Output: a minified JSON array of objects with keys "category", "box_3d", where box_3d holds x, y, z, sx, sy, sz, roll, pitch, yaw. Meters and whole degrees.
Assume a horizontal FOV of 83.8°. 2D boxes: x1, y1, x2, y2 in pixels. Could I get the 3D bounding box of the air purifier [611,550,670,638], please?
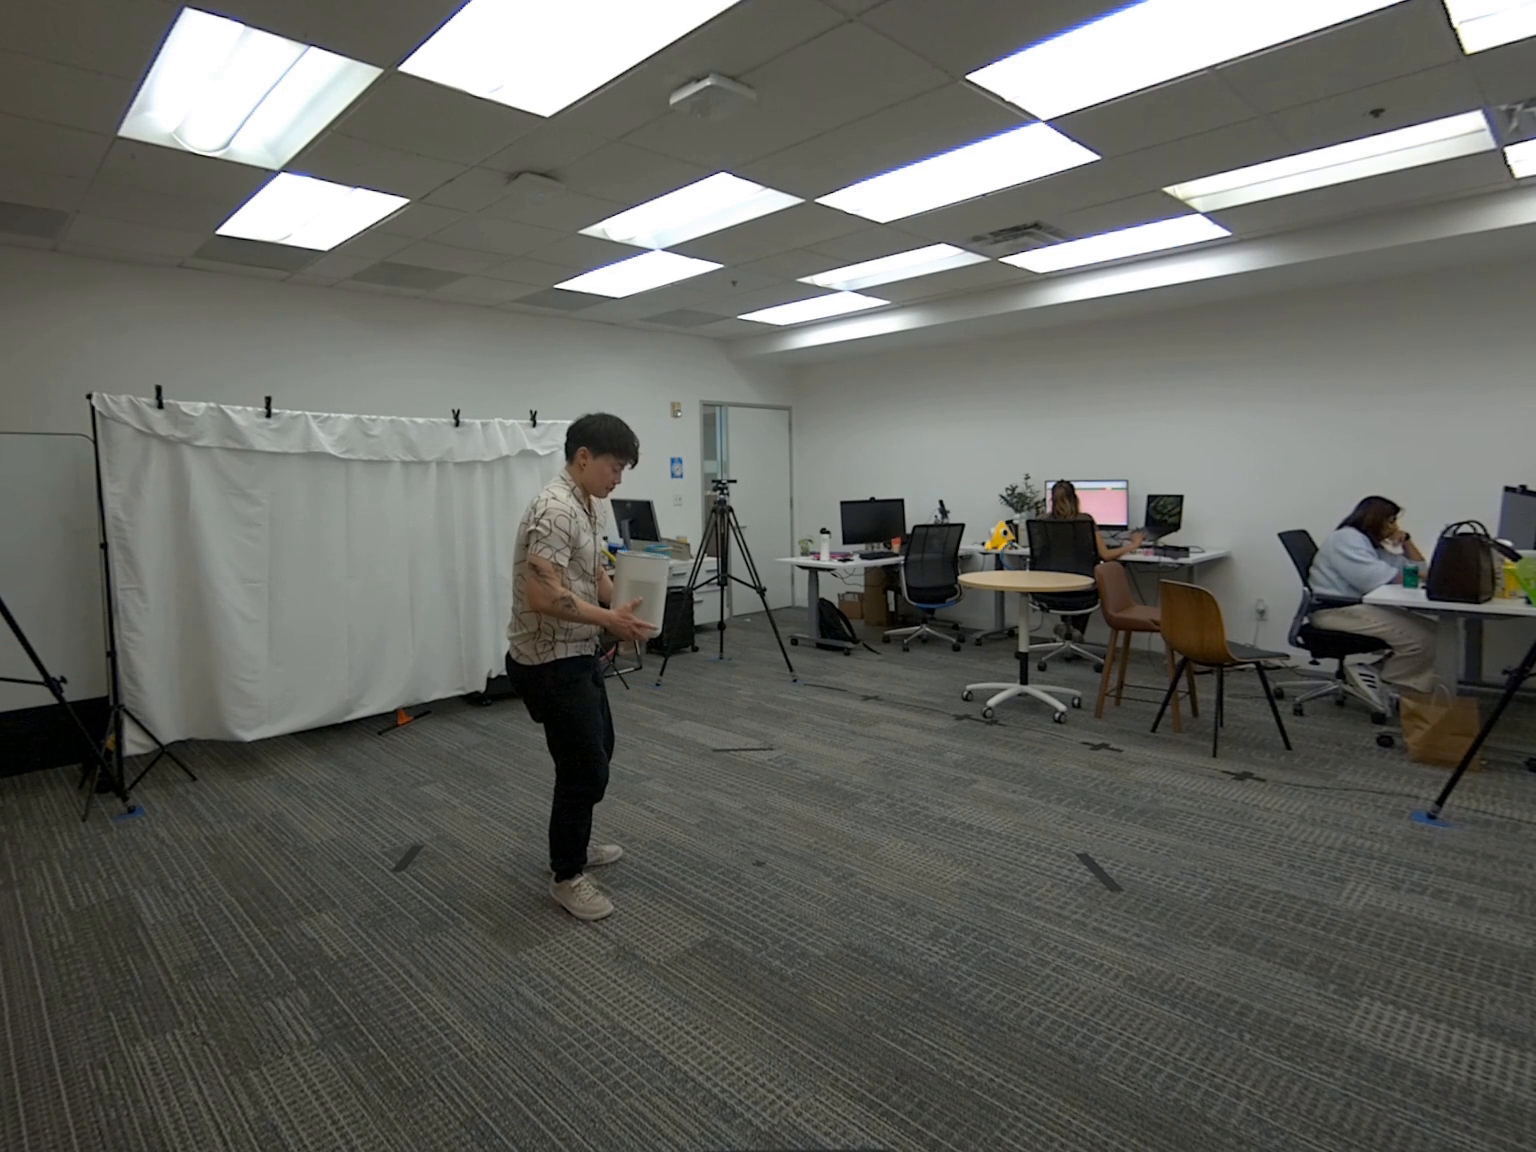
[{"category":"air purifier","box_3d":[-0.435,0.059,2.824,0.169,0.264,0.174,7,5,-10]}]
